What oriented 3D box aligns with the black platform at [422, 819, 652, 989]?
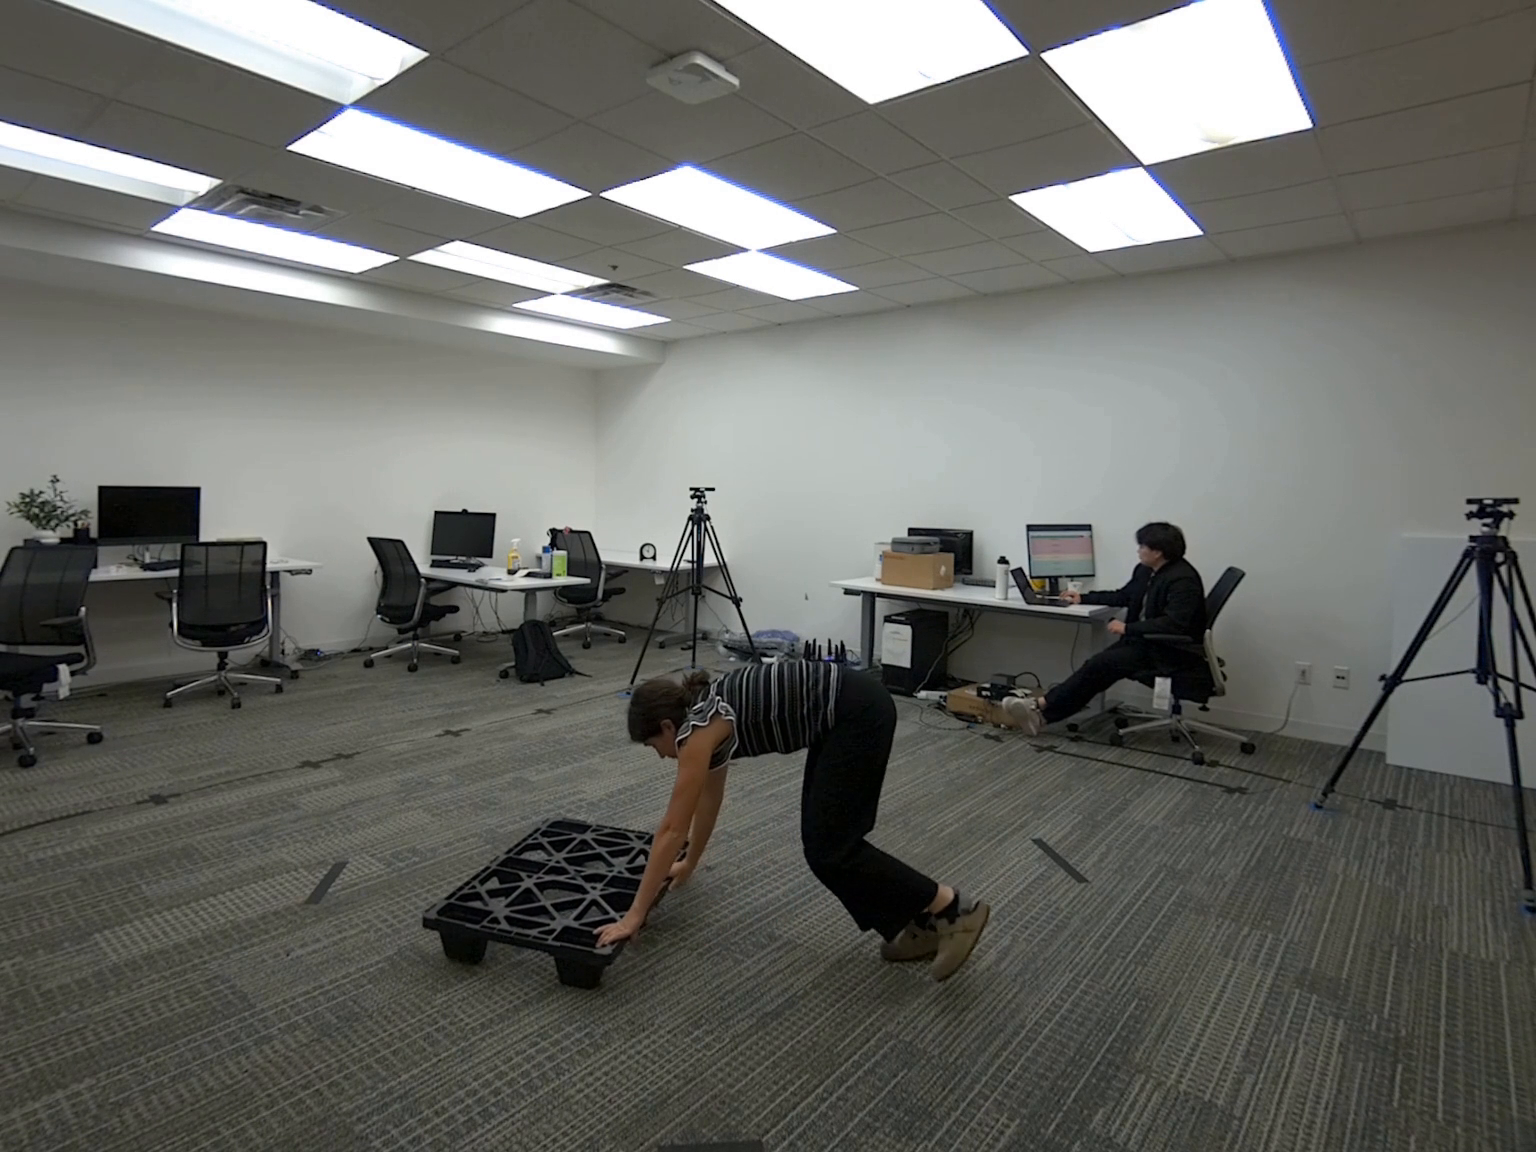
[{"bbox_3d":[-0.638,1.023,2.753,0.615,0.143,0.795,2,5,14],"label":"black platform"}]
